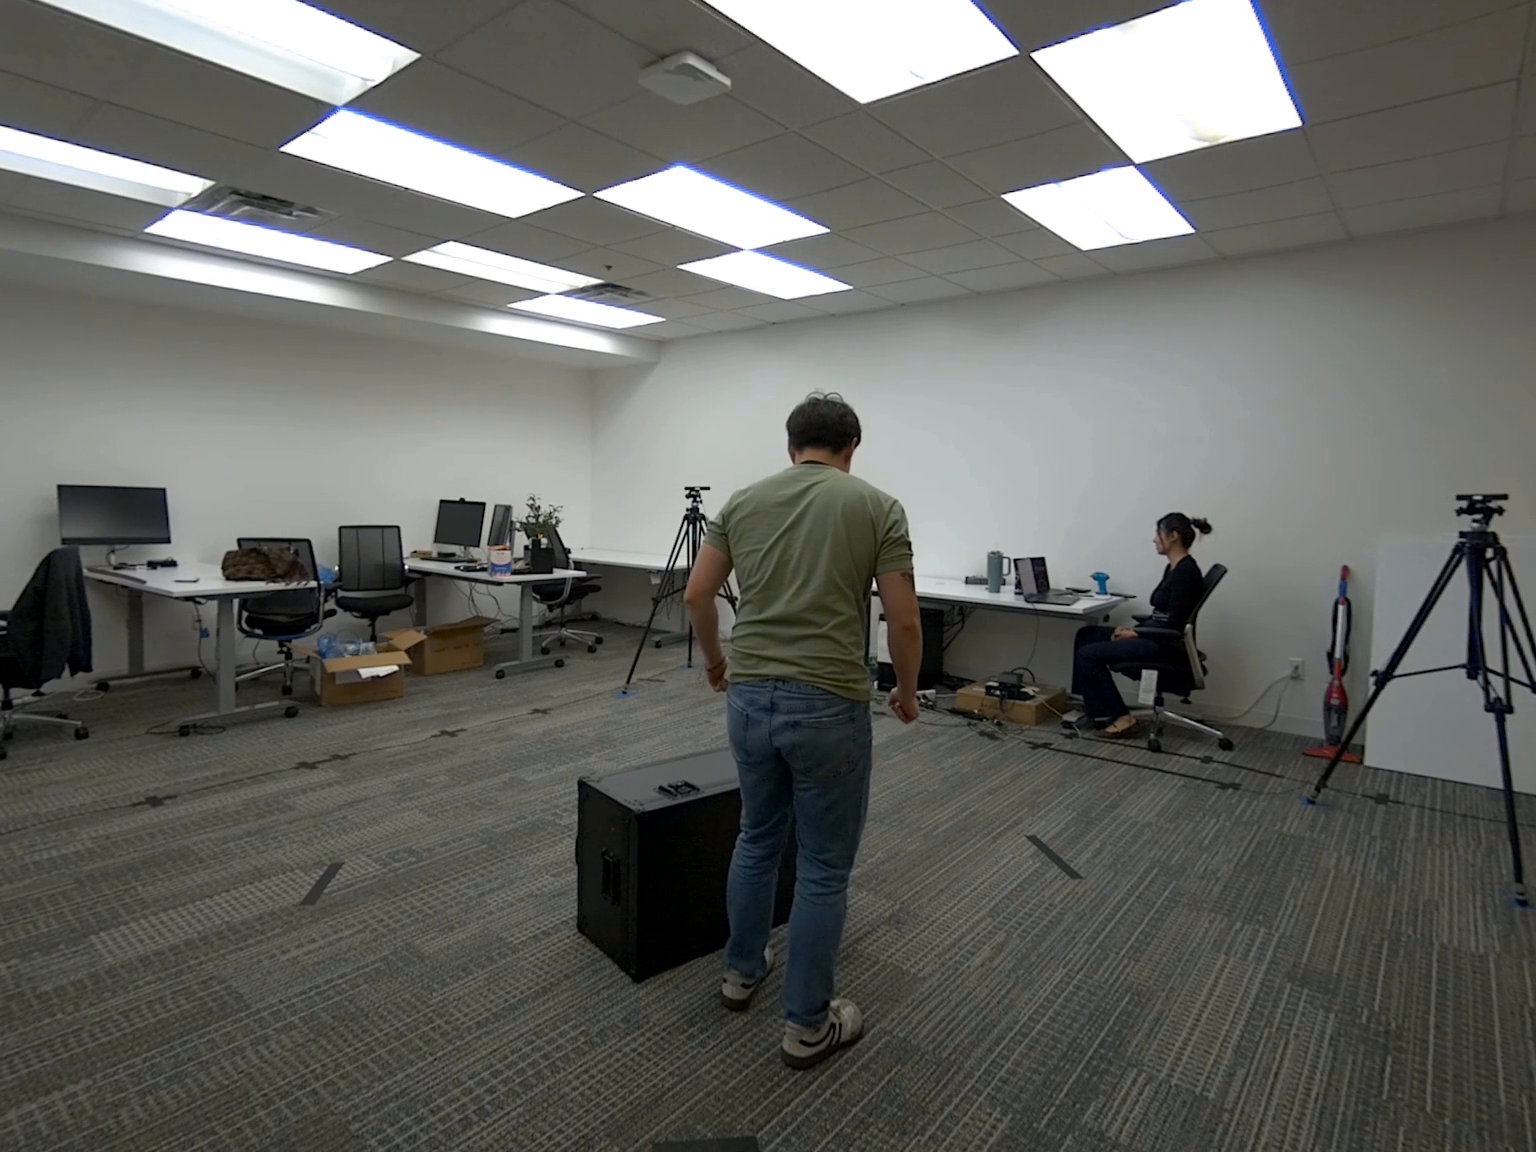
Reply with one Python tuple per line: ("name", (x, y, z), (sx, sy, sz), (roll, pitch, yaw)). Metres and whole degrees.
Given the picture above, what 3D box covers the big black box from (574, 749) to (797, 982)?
("big black box", (-0.174, 0.858, 2.766), (0.836, 0.519, 0.409), (-3, 5, -38))
